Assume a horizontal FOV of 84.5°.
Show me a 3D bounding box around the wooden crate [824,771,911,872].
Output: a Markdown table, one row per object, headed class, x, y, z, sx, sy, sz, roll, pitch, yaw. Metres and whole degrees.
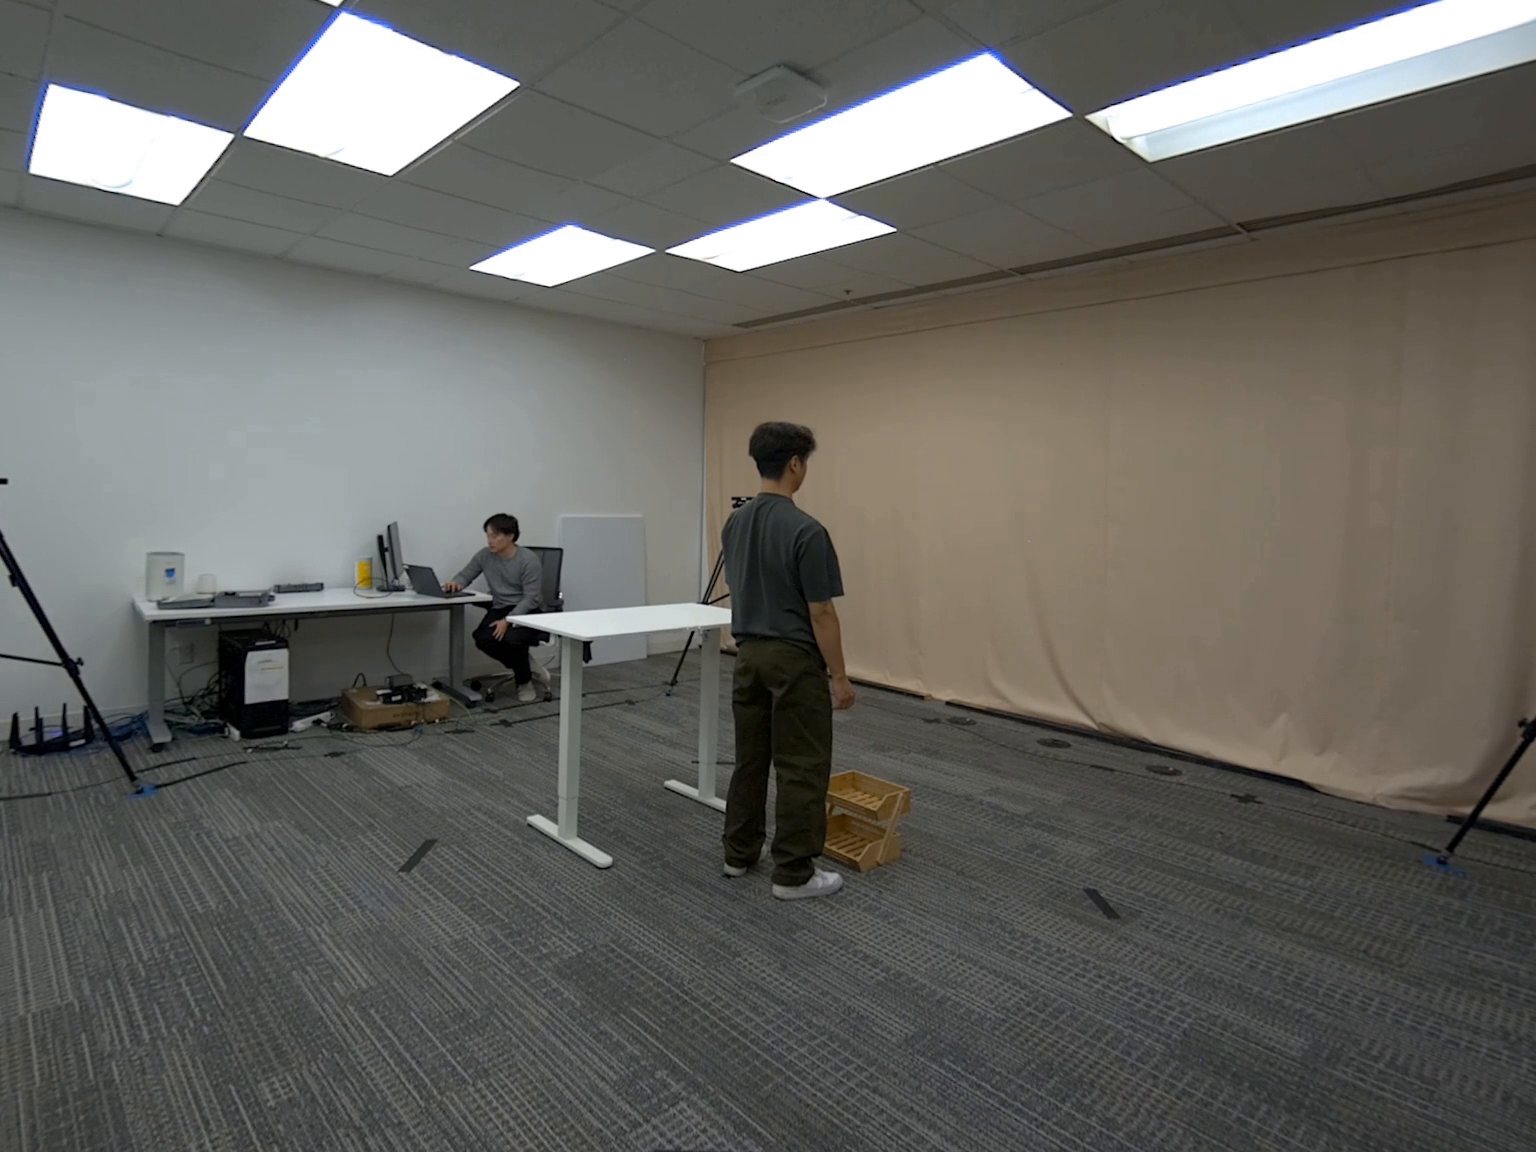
| class | x | y | z | sx | sy | sz | roll | pitch | yaw |
| --- | --- | --- | --- | --- | --- | --- | --- | --- | --- |
| wooden crate | 0.344 | 0.962 | 3.357 | 0.295 | 0.273 | 0.333 | -1 | 4 | -42 |
